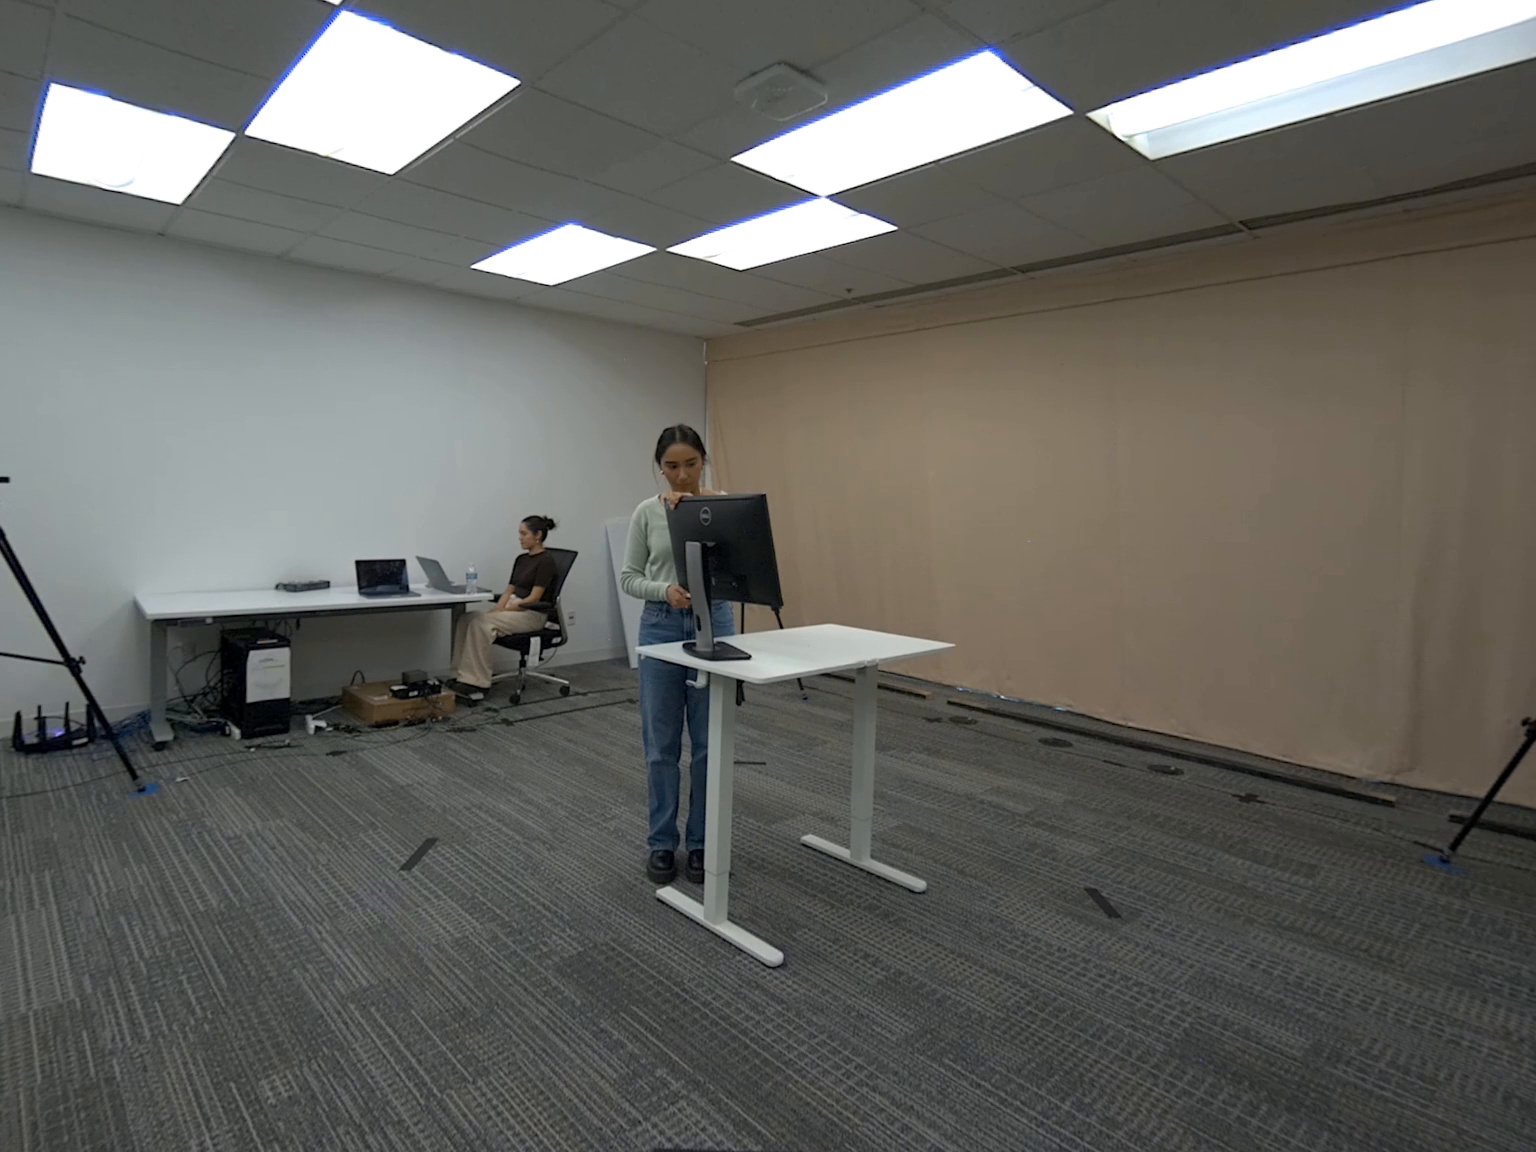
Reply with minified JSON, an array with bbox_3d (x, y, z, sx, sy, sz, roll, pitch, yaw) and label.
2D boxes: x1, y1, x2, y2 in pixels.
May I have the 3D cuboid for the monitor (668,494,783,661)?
[{"bbox_3d":[-0.194,0.001,2.721,0.183,0.522,0.552,-1,3,-40],"label":"monitor"}]
